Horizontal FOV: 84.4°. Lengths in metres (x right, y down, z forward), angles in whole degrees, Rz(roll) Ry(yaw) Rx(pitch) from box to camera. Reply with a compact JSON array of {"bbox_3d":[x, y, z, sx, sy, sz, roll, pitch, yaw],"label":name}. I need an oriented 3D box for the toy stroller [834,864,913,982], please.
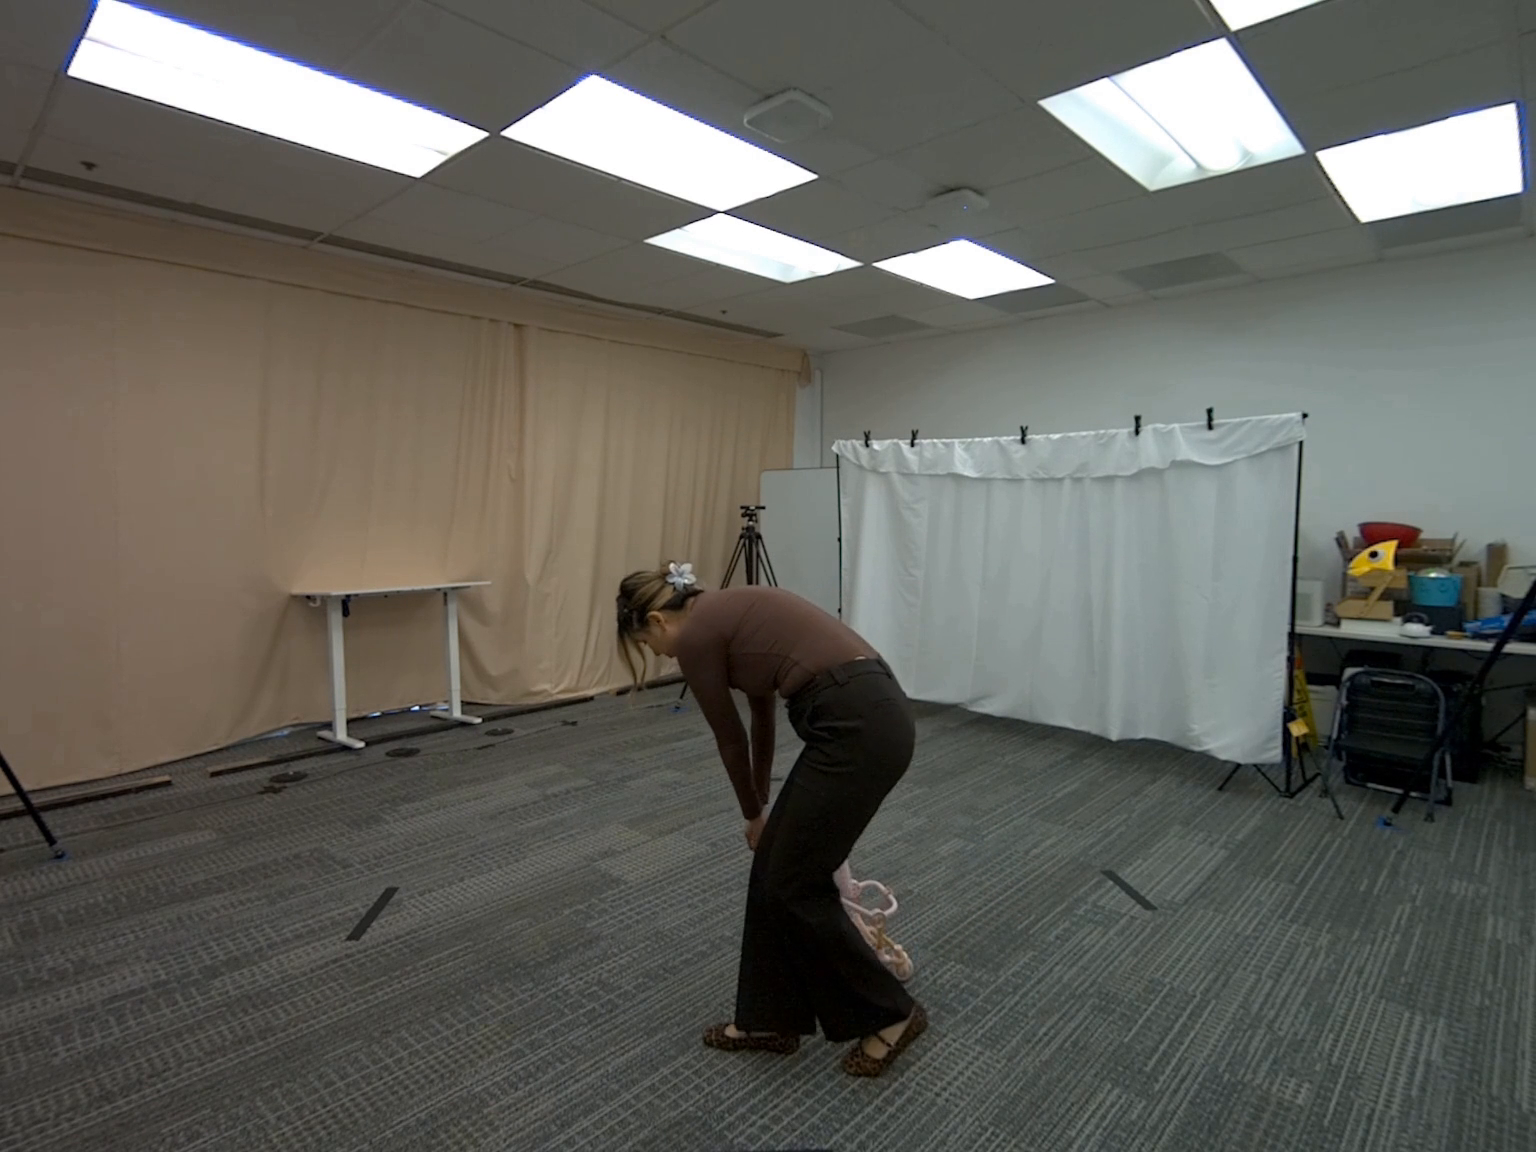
[{"bbox_3d":[0.207,0.963,2.422,0.340,0.532,0.284,-18,7,-6],"label":"toy stroller"}]
